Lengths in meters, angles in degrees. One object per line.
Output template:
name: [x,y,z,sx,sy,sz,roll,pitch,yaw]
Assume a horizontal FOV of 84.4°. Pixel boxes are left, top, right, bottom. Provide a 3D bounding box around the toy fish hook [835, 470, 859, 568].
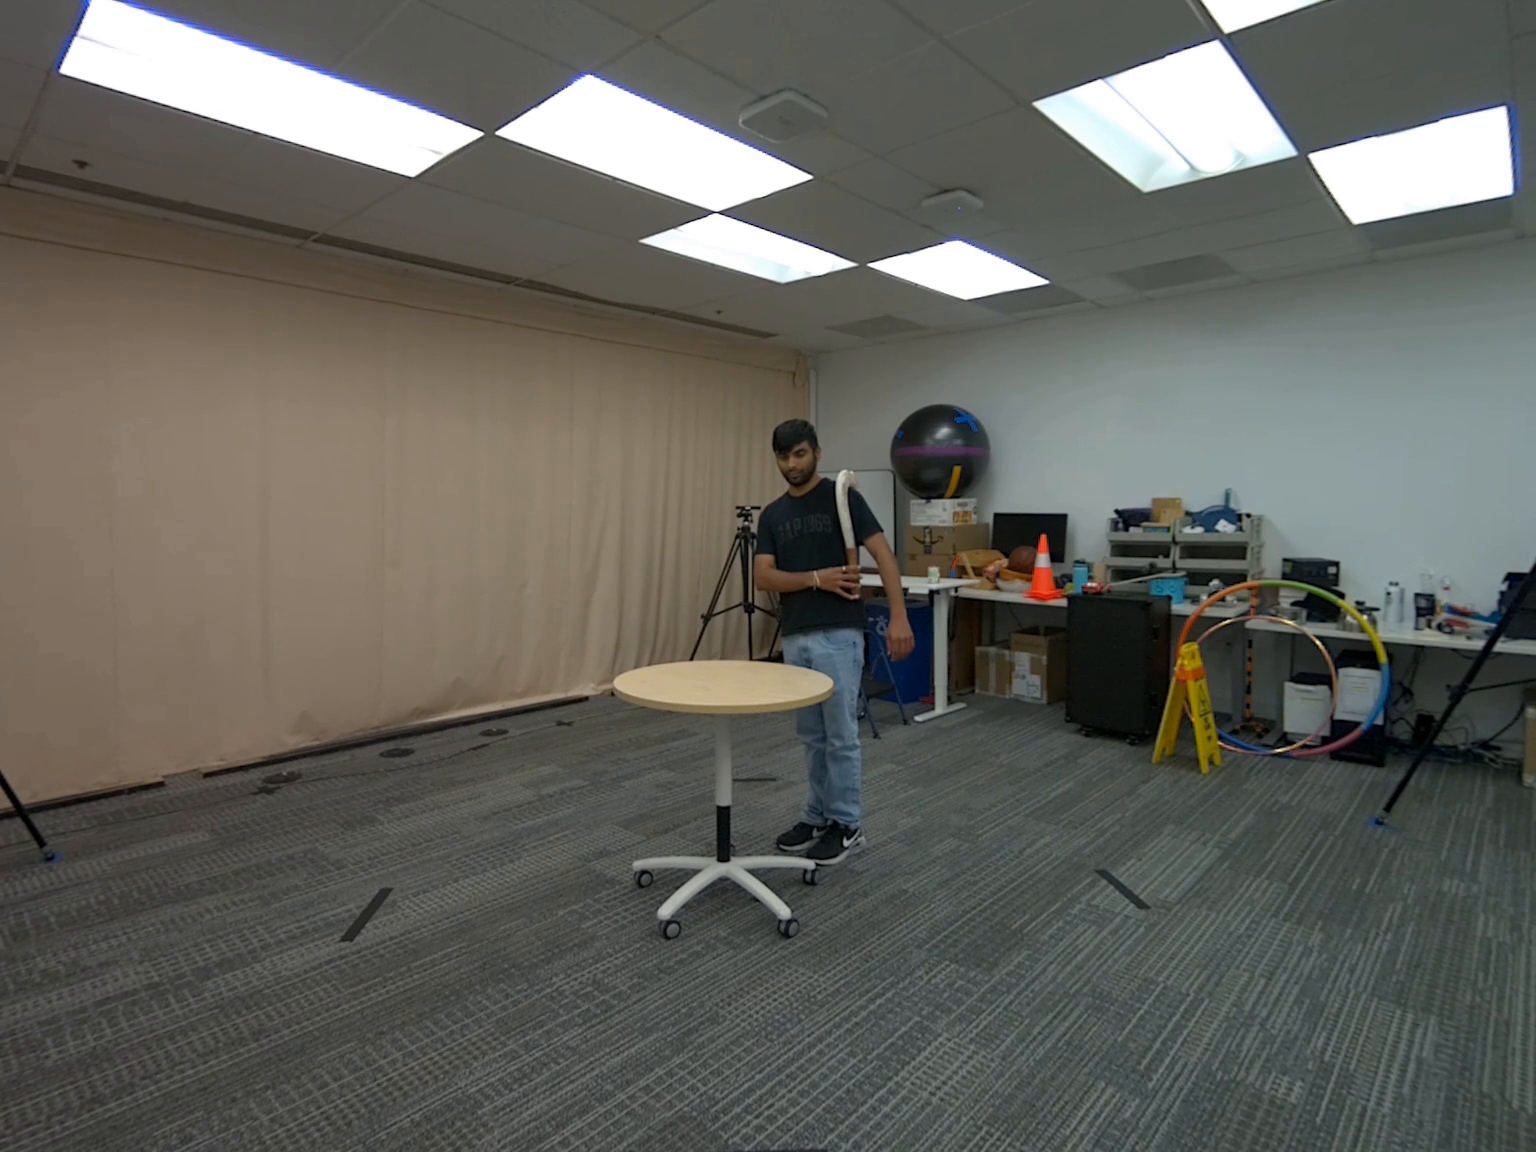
toy fish hook: [0.355,-0.165,3.317,0.049,0.508,0.218,-10,-3,32]
